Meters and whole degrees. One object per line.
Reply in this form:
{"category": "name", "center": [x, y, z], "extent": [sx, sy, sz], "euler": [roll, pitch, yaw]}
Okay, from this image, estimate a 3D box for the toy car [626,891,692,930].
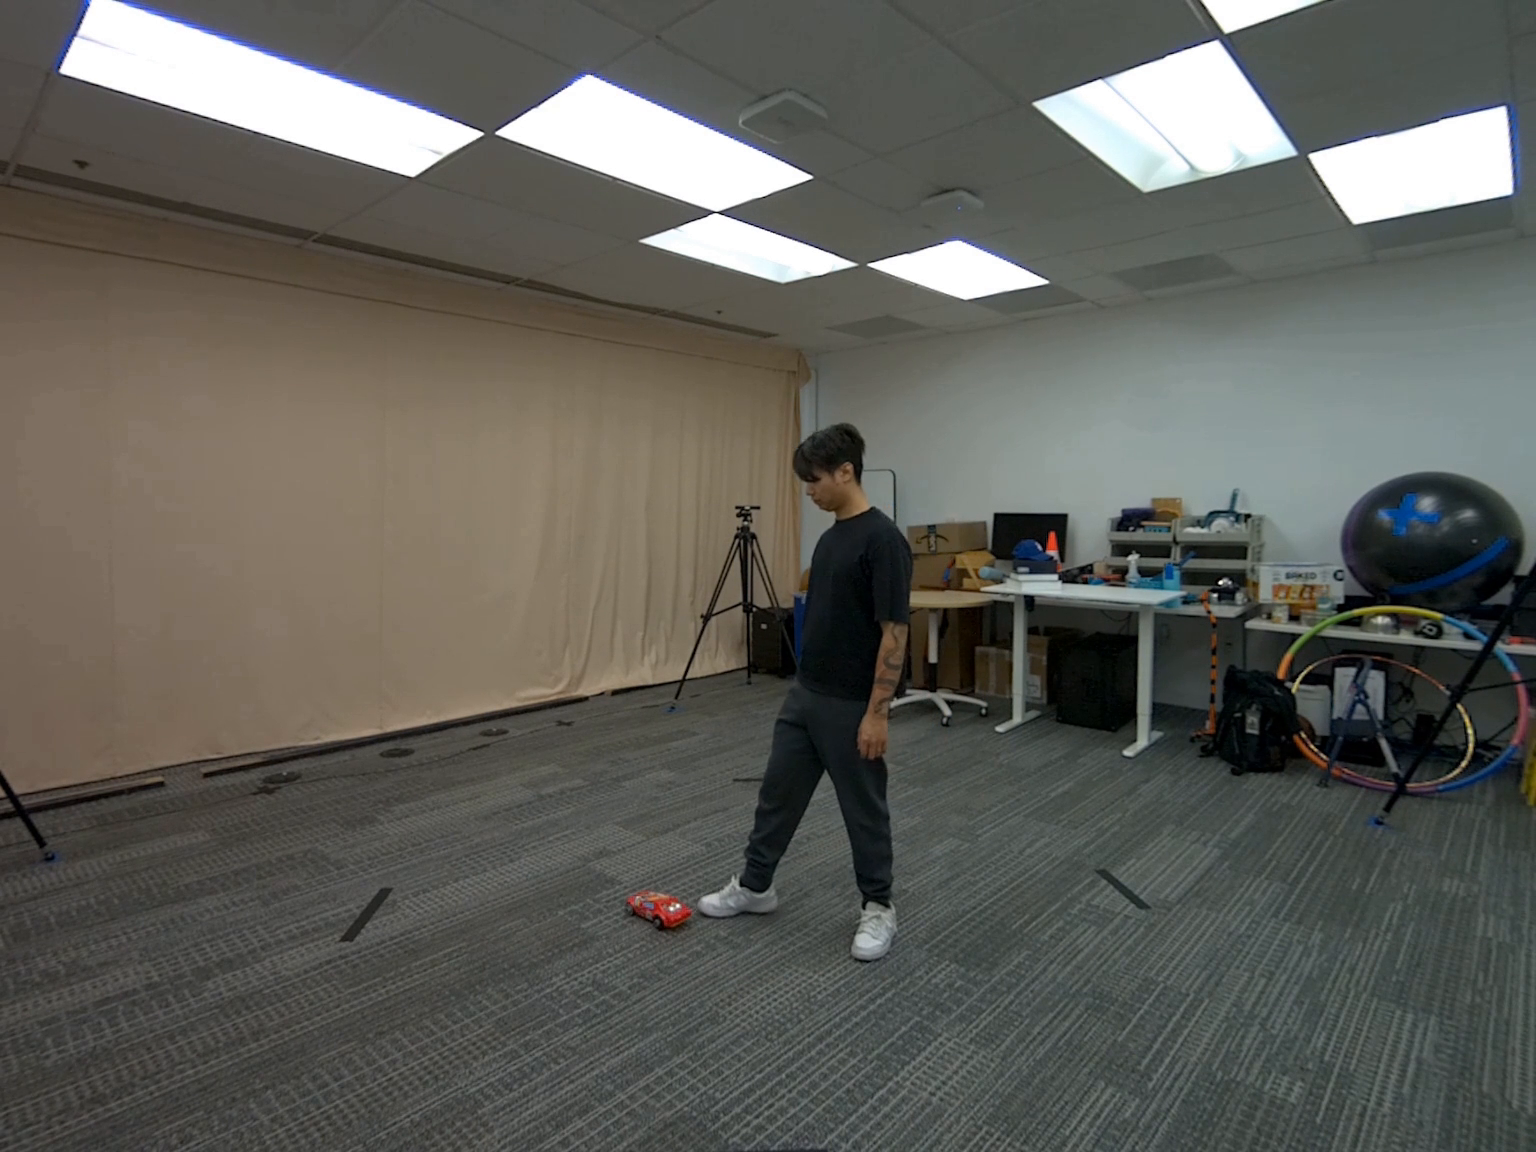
{"category": "toy car", "center": [-0.362, 1.126, 2.830], "extent": [0.261, 0.083, 0.126], "euler": [-12, -5, 43]}
